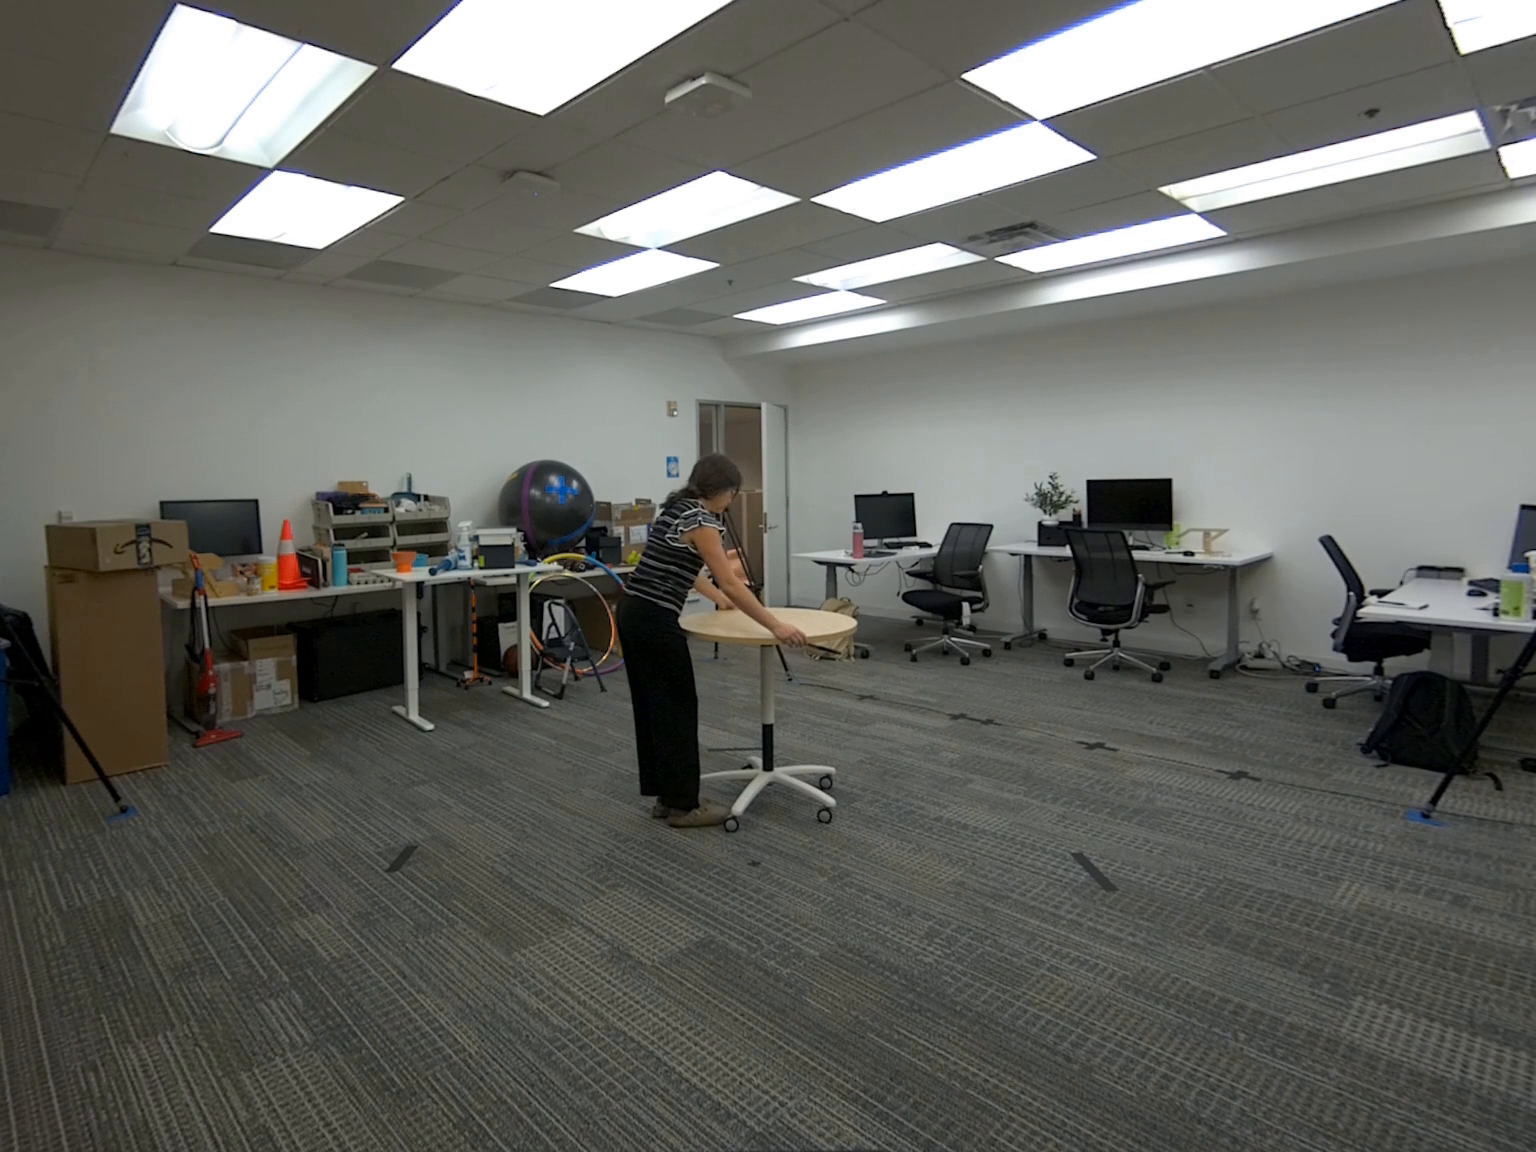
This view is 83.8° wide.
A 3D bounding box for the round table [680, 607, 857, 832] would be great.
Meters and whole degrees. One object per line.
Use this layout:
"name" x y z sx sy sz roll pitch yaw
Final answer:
"round table" -0.005 0.587 3.675 0.763 0.791 0.768 -1 5 -2
